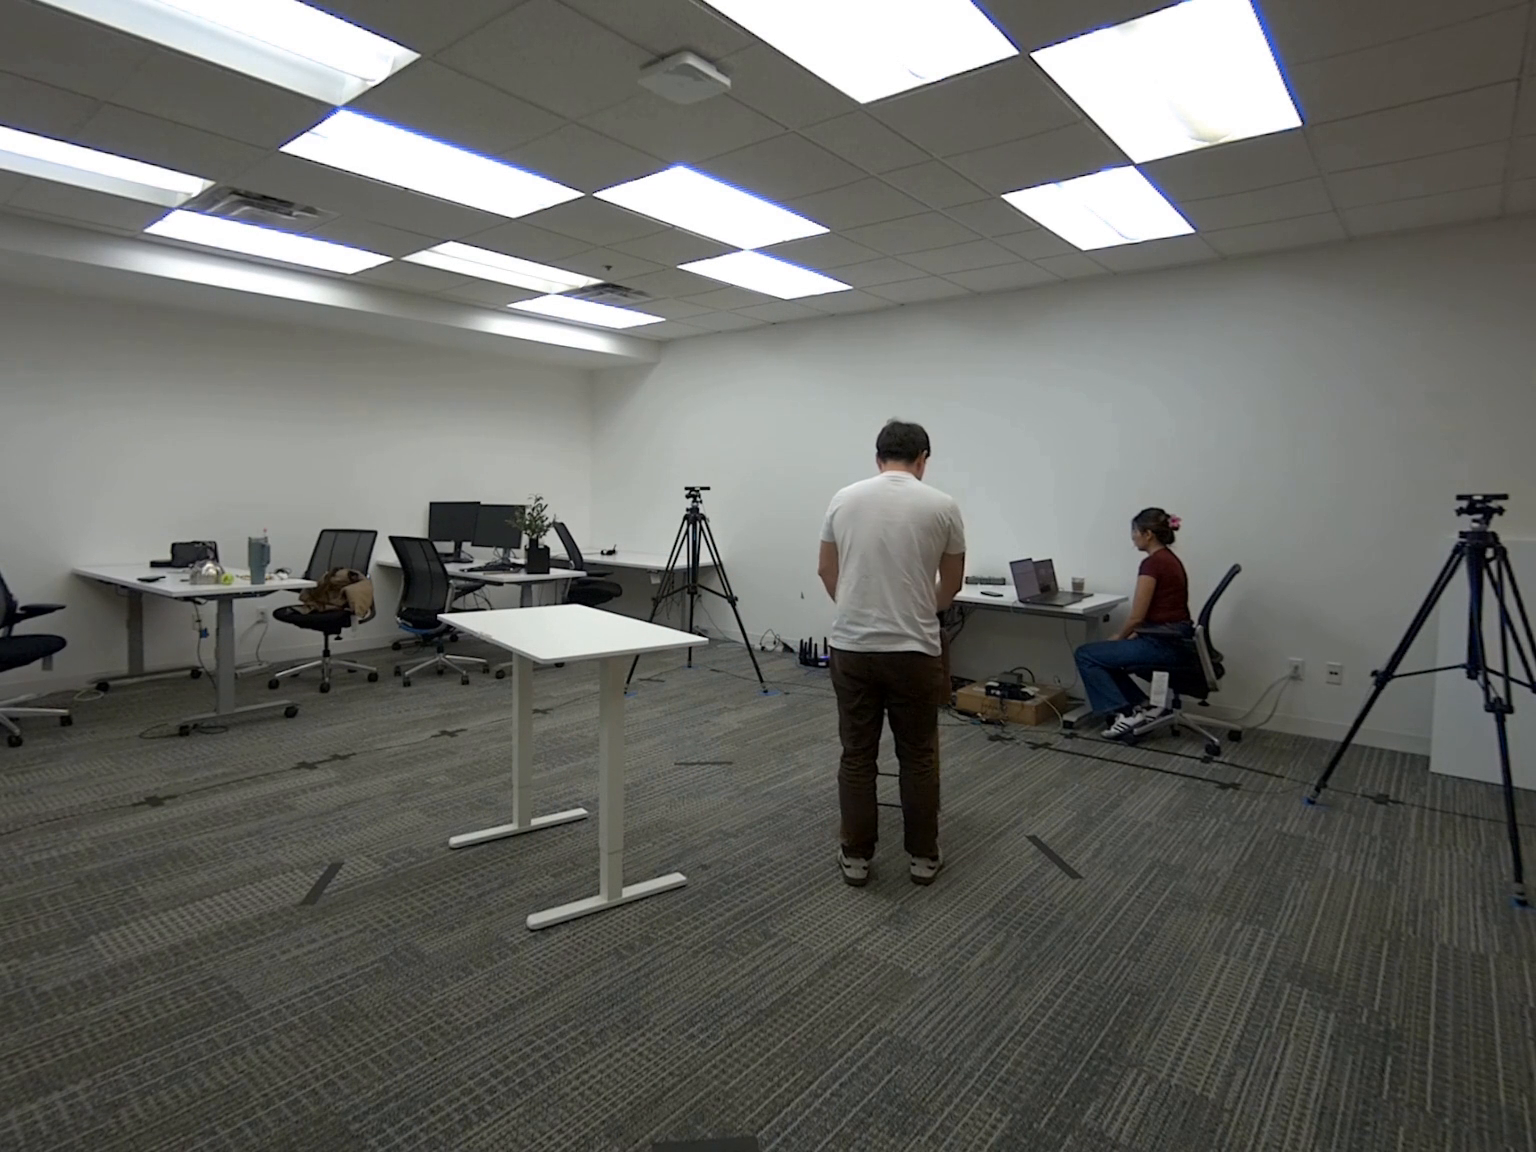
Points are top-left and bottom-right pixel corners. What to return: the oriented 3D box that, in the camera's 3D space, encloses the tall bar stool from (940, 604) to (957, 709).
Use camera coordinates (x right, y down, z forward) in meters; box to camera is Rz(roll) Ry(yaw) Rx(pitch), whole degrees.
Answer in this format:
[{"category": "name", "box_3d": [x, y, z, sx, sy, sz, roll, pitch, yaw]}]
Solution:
[{"category": "tall bar stool", "box_3d": [0.508, 0.598, 3.528, 0.464, 0.886, 0.462, 2, 5, 14]}]
